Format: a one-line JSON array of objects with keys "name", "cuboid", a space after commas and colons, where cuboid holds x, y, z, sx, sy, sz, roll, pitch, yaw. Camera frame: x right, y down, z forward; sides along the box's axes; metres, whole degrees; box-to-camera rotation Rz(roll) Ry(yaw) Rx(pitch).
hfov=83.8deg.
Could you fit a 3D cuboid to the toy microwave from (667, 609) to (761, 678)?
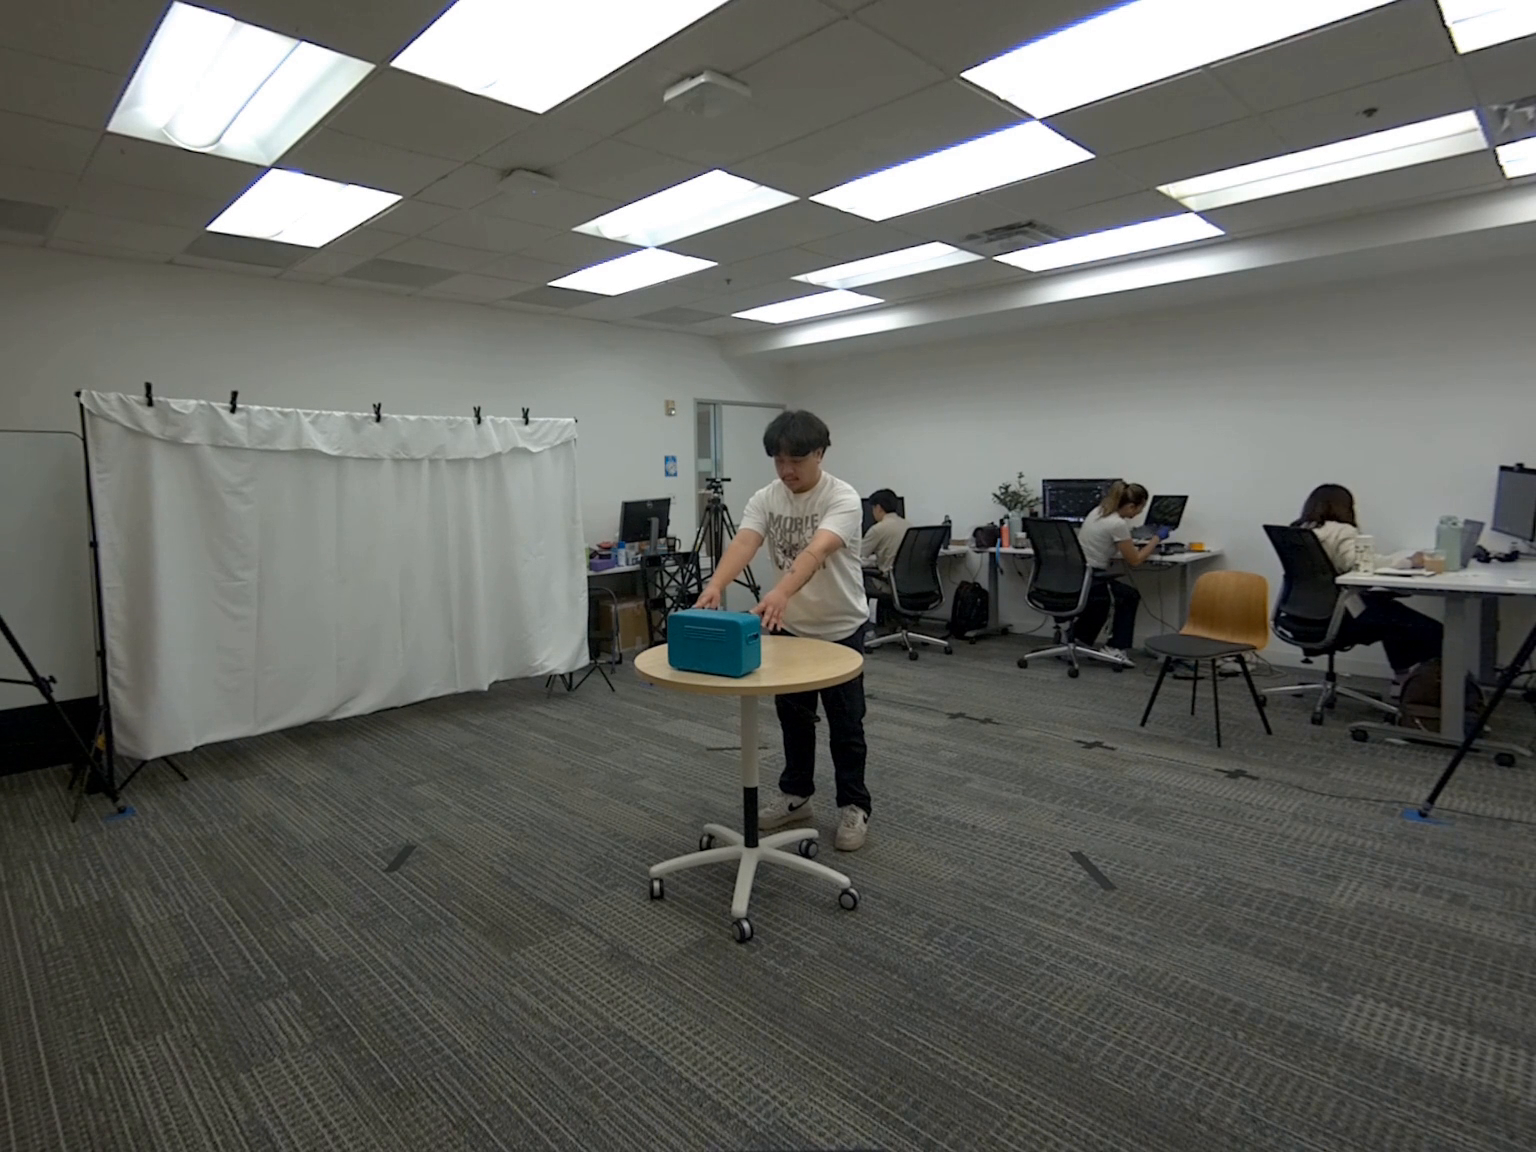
[{"name": "toy microwave", "cuboid": [-0.162, 0.207, 2.705, 0.294, 0.183, 0.149, 3, 6, 32]}]
